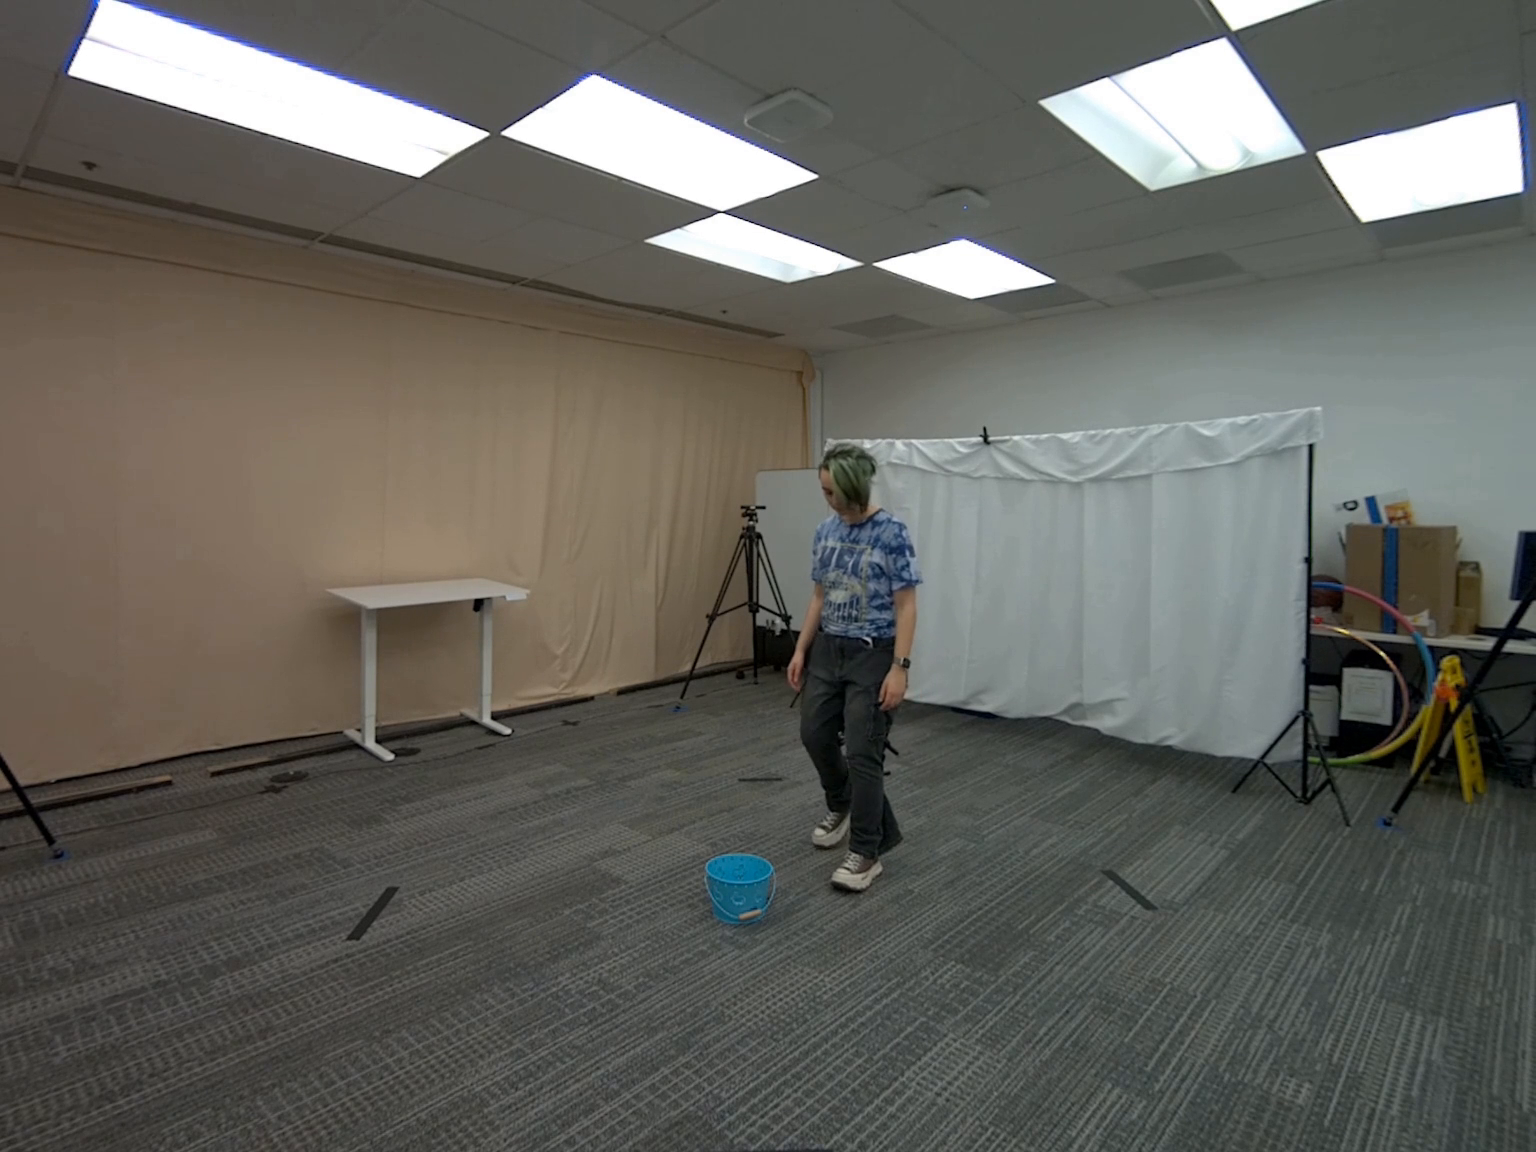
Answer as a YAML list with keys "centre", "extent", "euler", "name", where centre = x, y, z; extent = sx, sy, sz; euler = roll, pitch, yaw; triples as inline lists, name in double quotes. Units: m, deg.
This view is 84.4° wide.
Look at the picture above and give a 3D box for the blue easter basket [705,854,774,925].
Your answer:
- centre: [-0.100, 1.073, 2.890]
  extent: [0.243, 0.155, 0.244]
  euler: [0, 4, -2]
  name: "blue easter basket"
